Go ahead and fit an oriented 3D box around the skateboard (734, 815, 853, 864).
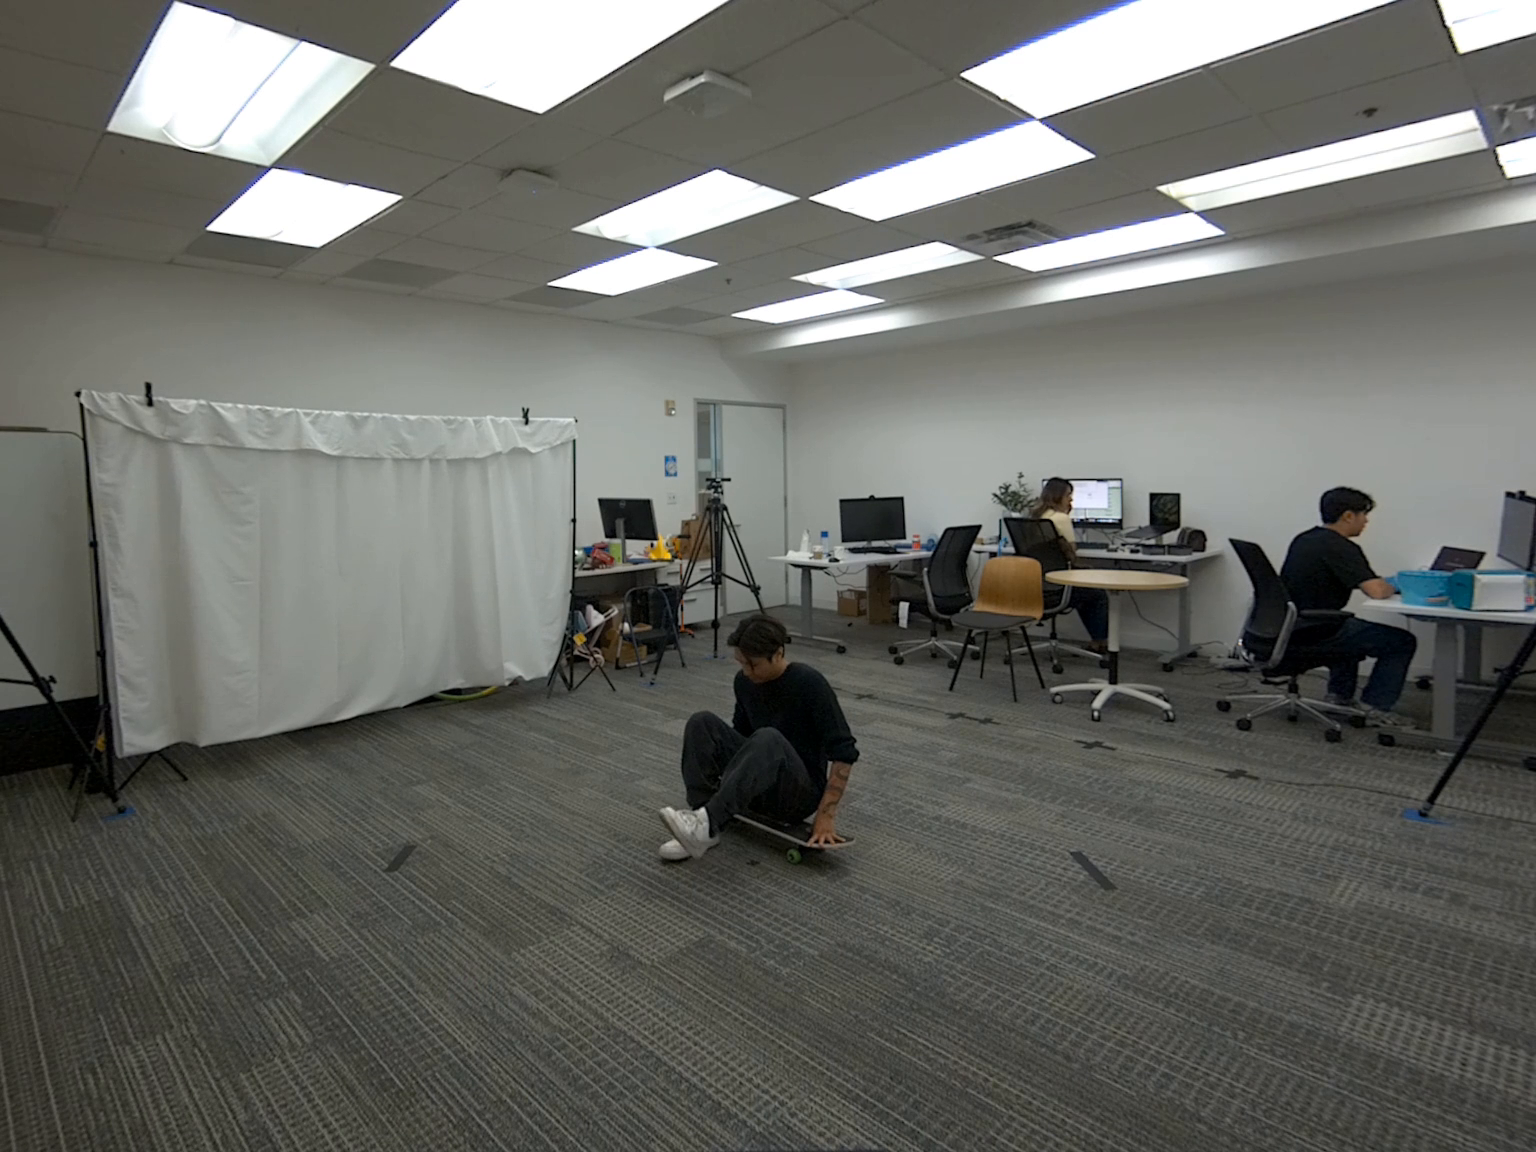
[{"bbox_3d":[0.010,0.977,3.296,0.187,0.110,0.810,3,2,-44],"label":"skateboard"}]
